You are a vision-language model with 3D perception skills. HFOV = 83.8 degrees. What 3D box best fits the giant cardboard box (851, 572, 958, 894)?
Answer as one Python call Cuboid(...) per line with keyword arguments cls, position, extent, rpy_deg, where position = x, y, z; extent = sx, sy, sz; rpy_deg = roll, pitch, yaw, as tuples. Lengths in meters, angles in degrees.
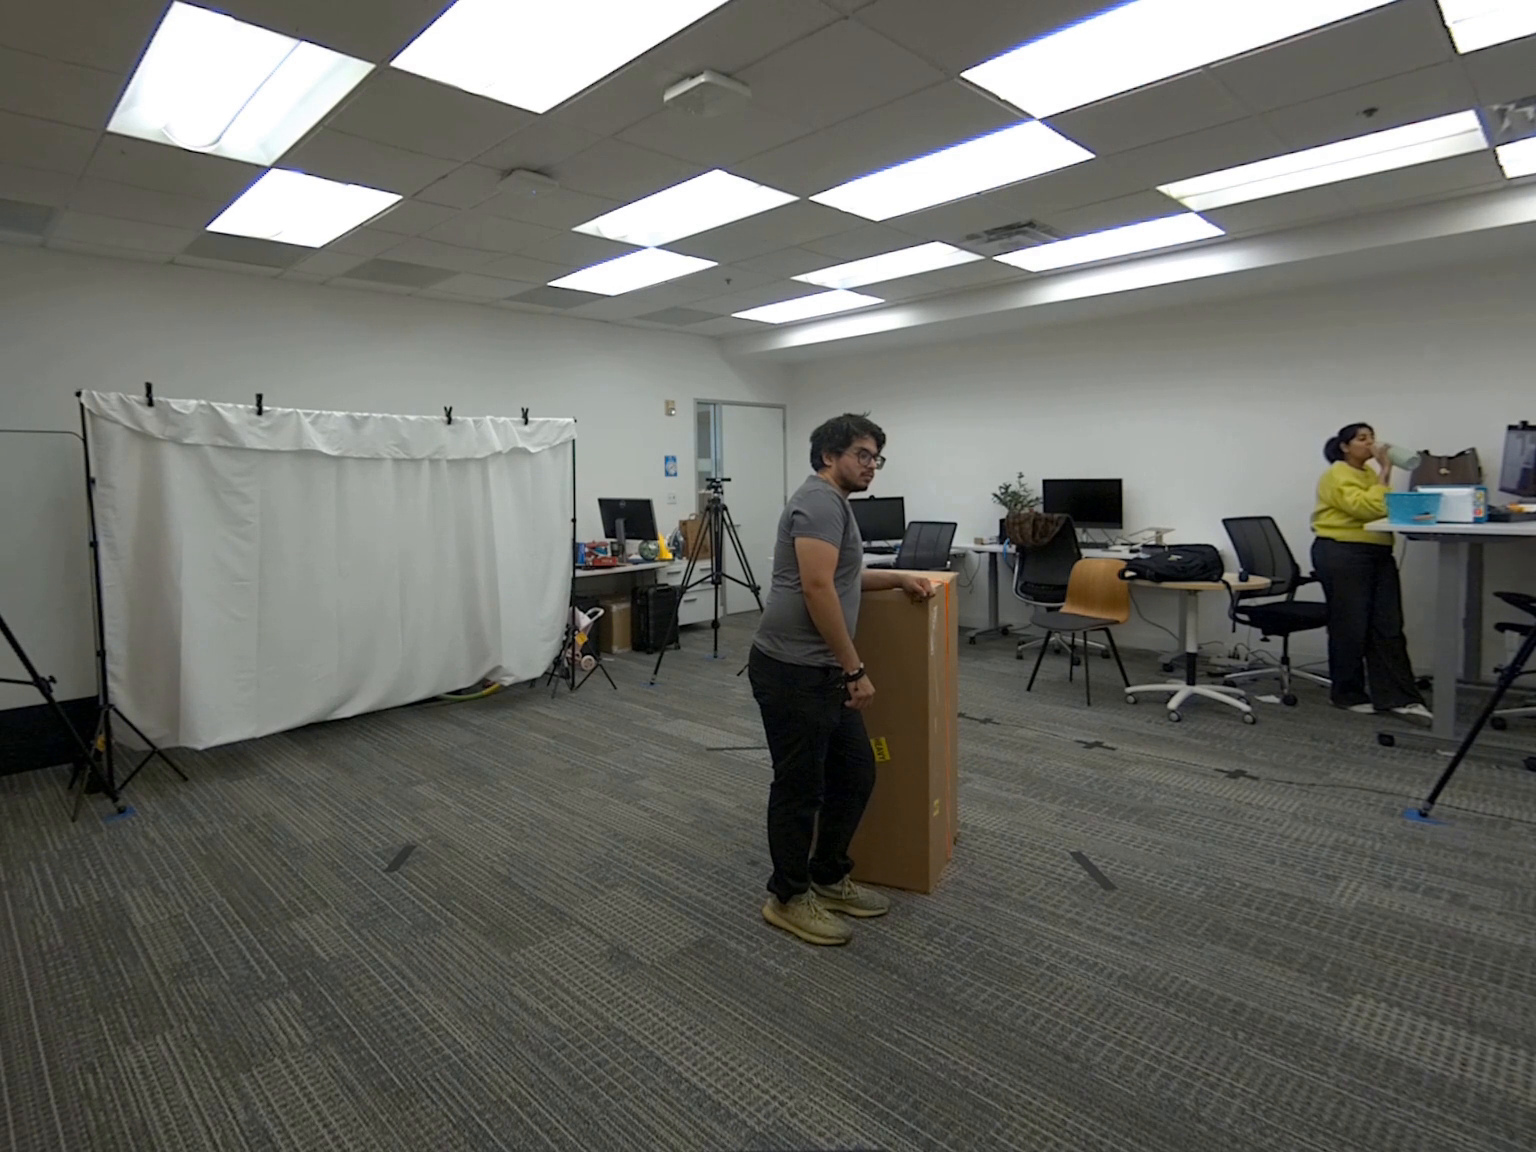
Cuboid(cls="giant cardboard box", position=(0.454, 0.519, 3.164), extent=(0.436, 1.022, 0.567), rpy_deg=(1, 4, 24))
